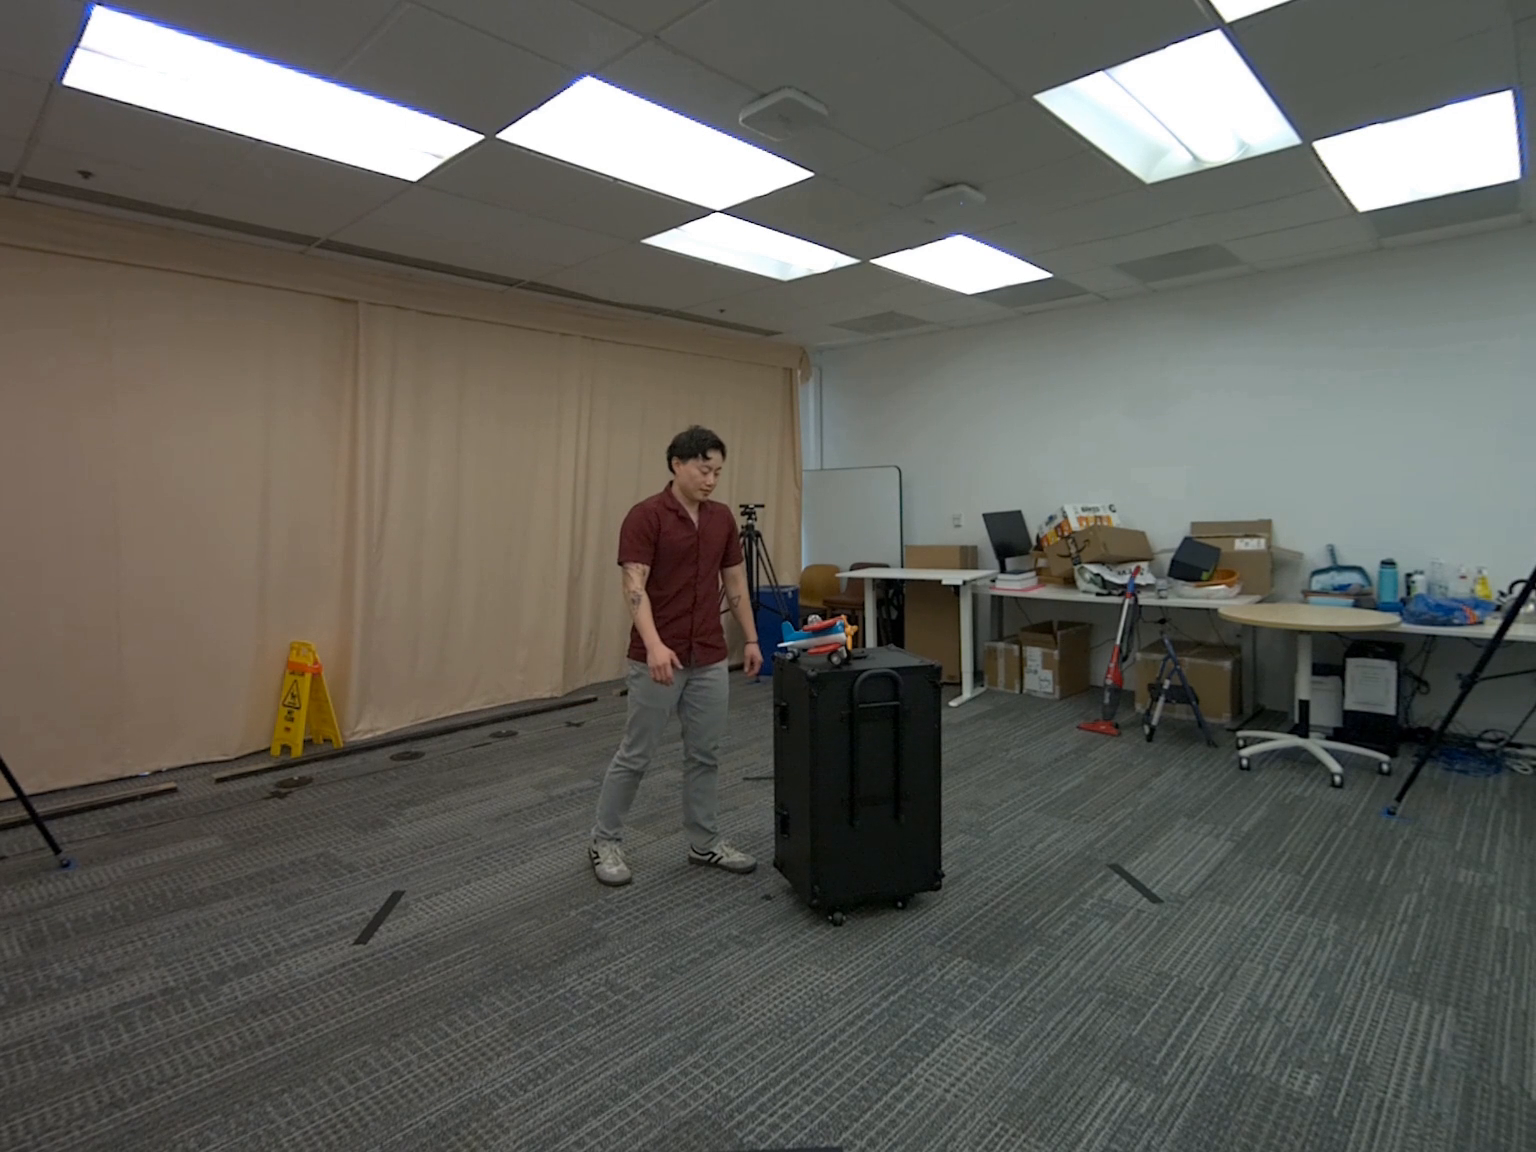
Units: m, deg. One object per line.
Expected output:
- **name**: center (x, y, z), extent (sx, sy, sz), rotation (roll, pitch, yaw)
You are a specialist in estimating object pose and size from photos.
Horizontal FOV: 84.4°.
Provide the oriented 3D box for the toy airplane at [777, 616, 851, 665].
- **toy airplane**: center (0.159, 0.216, 2.849), extent (0.260, 0.156, 0.251), rotation (1, 4, 1)
